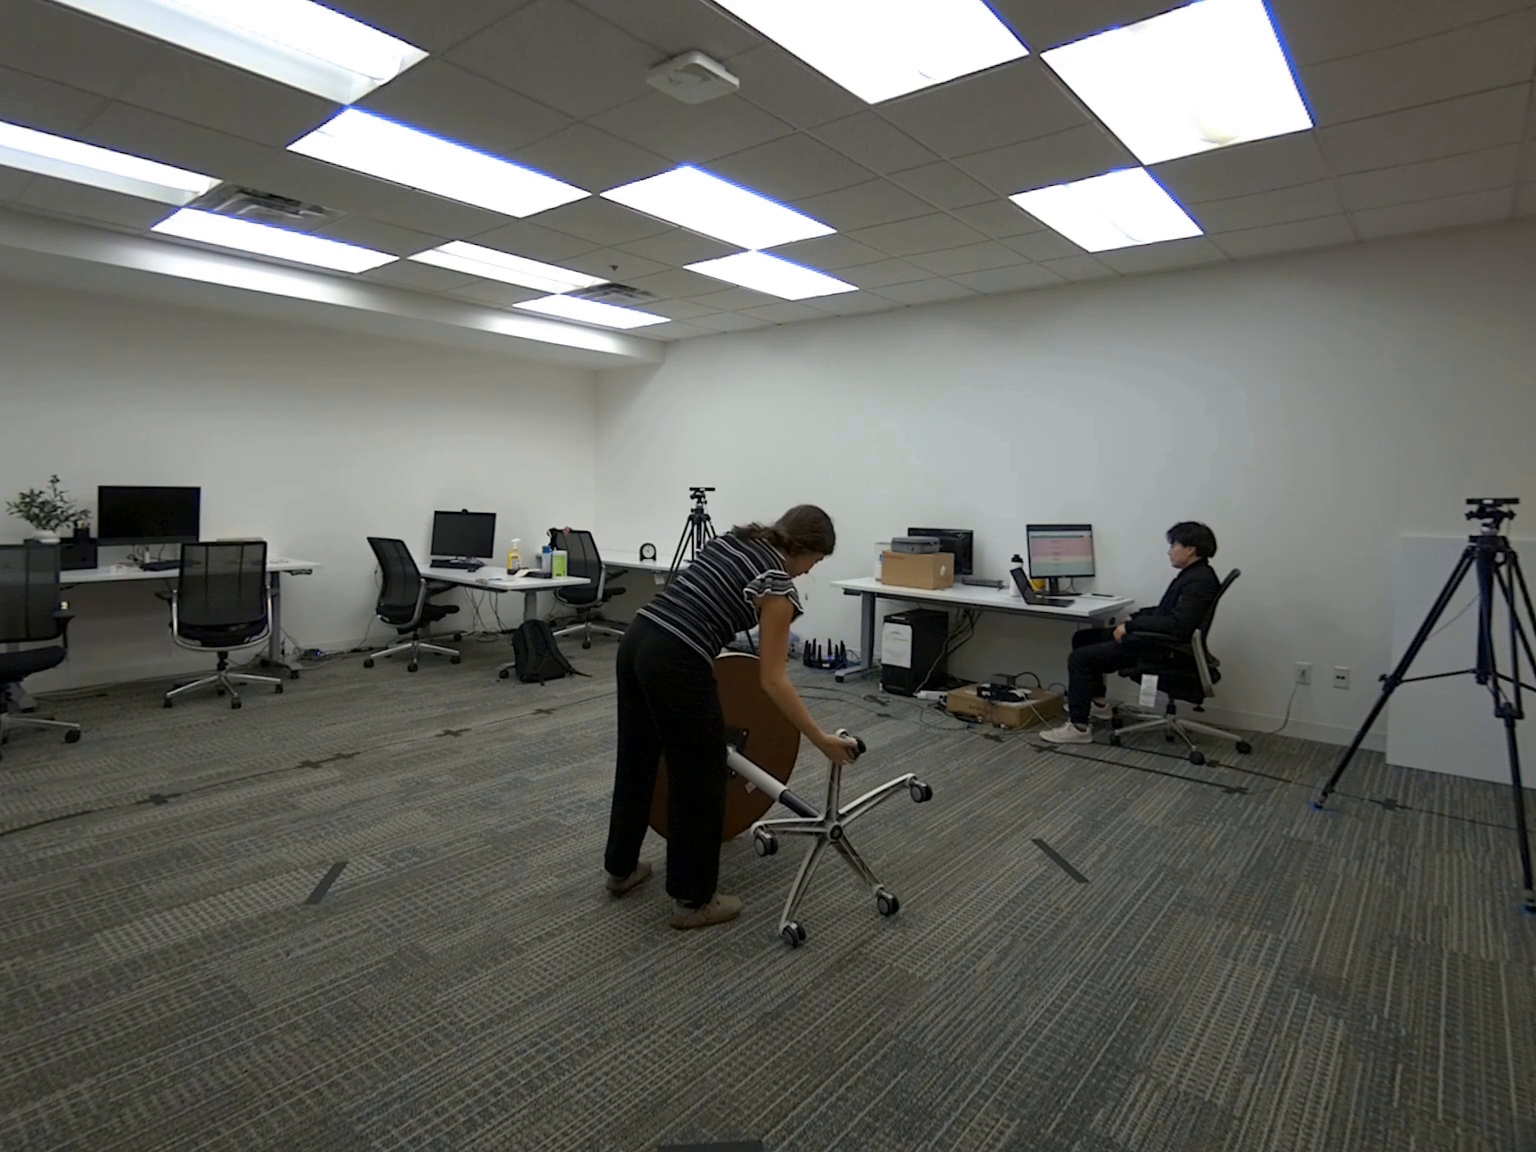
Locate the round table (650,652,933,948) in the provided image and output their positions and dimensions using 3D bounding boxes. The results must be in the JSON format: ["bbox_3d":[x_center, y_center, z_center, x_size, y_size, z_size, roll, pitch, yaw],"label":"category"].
[{"bbox_3d":[0.032,0.751,2.961,0.742,0.758,0.823,-2,11,-34],"label":"round table"}]
